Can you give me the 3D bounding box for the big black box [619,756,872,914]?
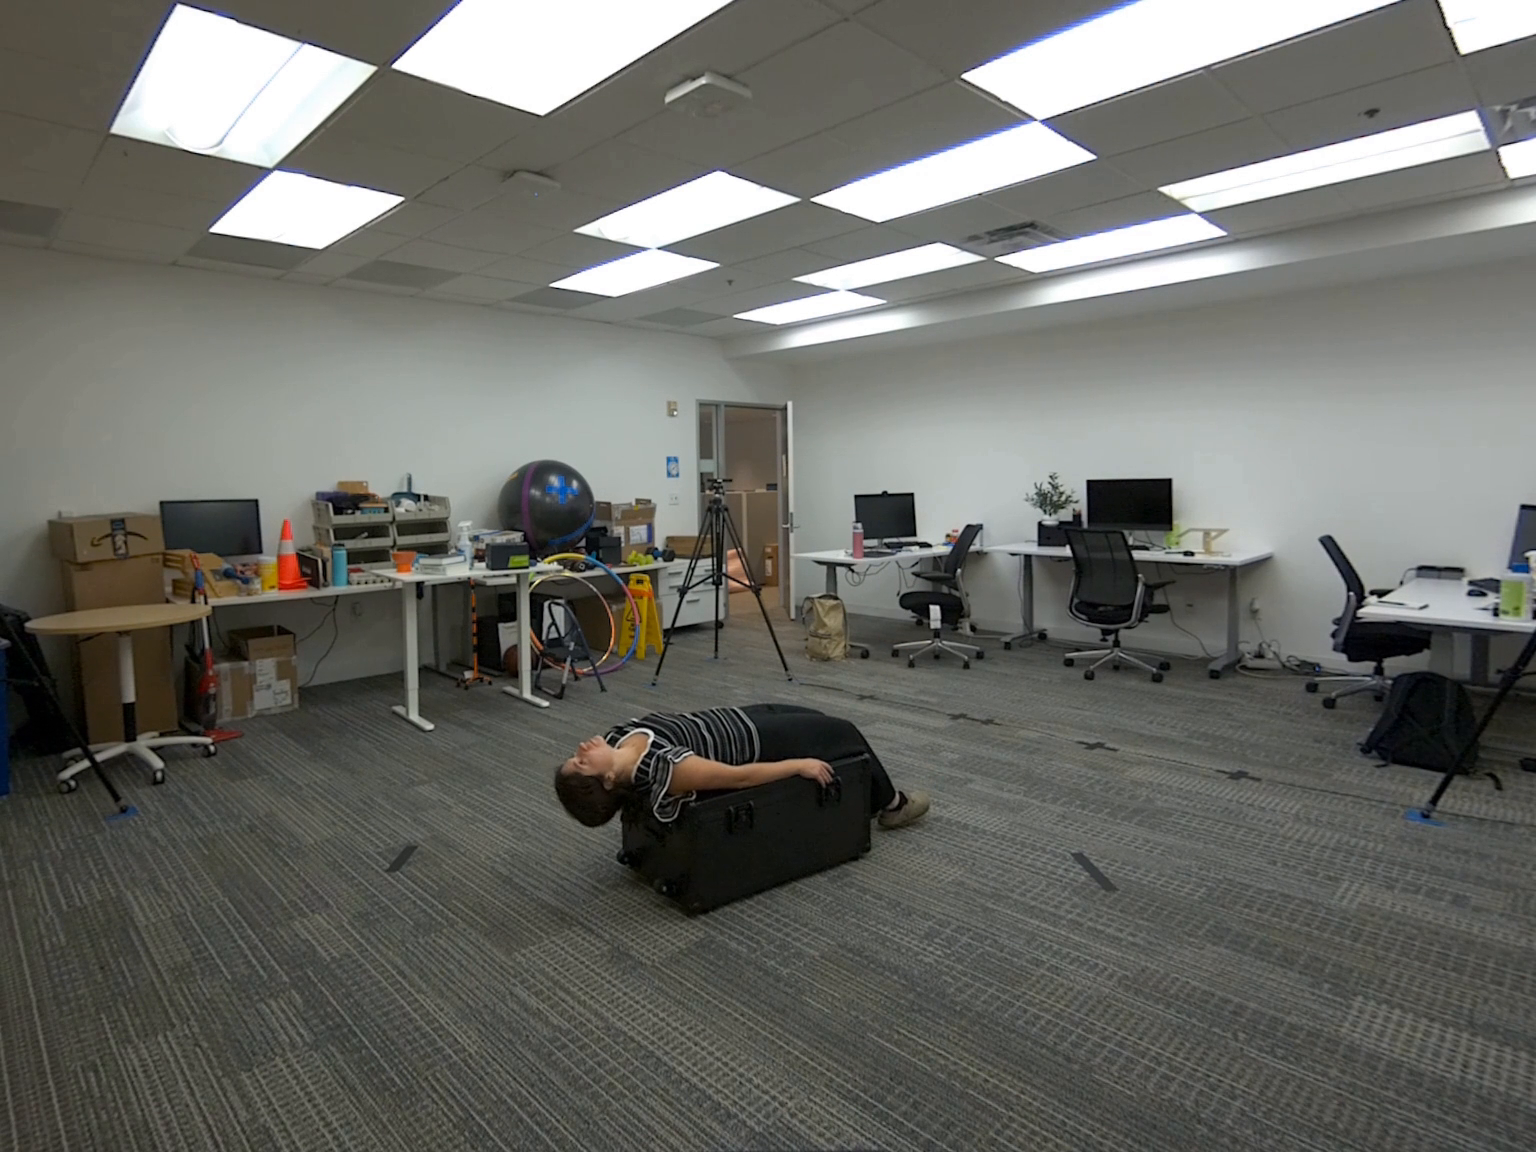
[{"bbox_3d":[-0.108,0.864,3.092,0.839,0.394,0.537,-4,7,-35],"label":"big black box"}]
